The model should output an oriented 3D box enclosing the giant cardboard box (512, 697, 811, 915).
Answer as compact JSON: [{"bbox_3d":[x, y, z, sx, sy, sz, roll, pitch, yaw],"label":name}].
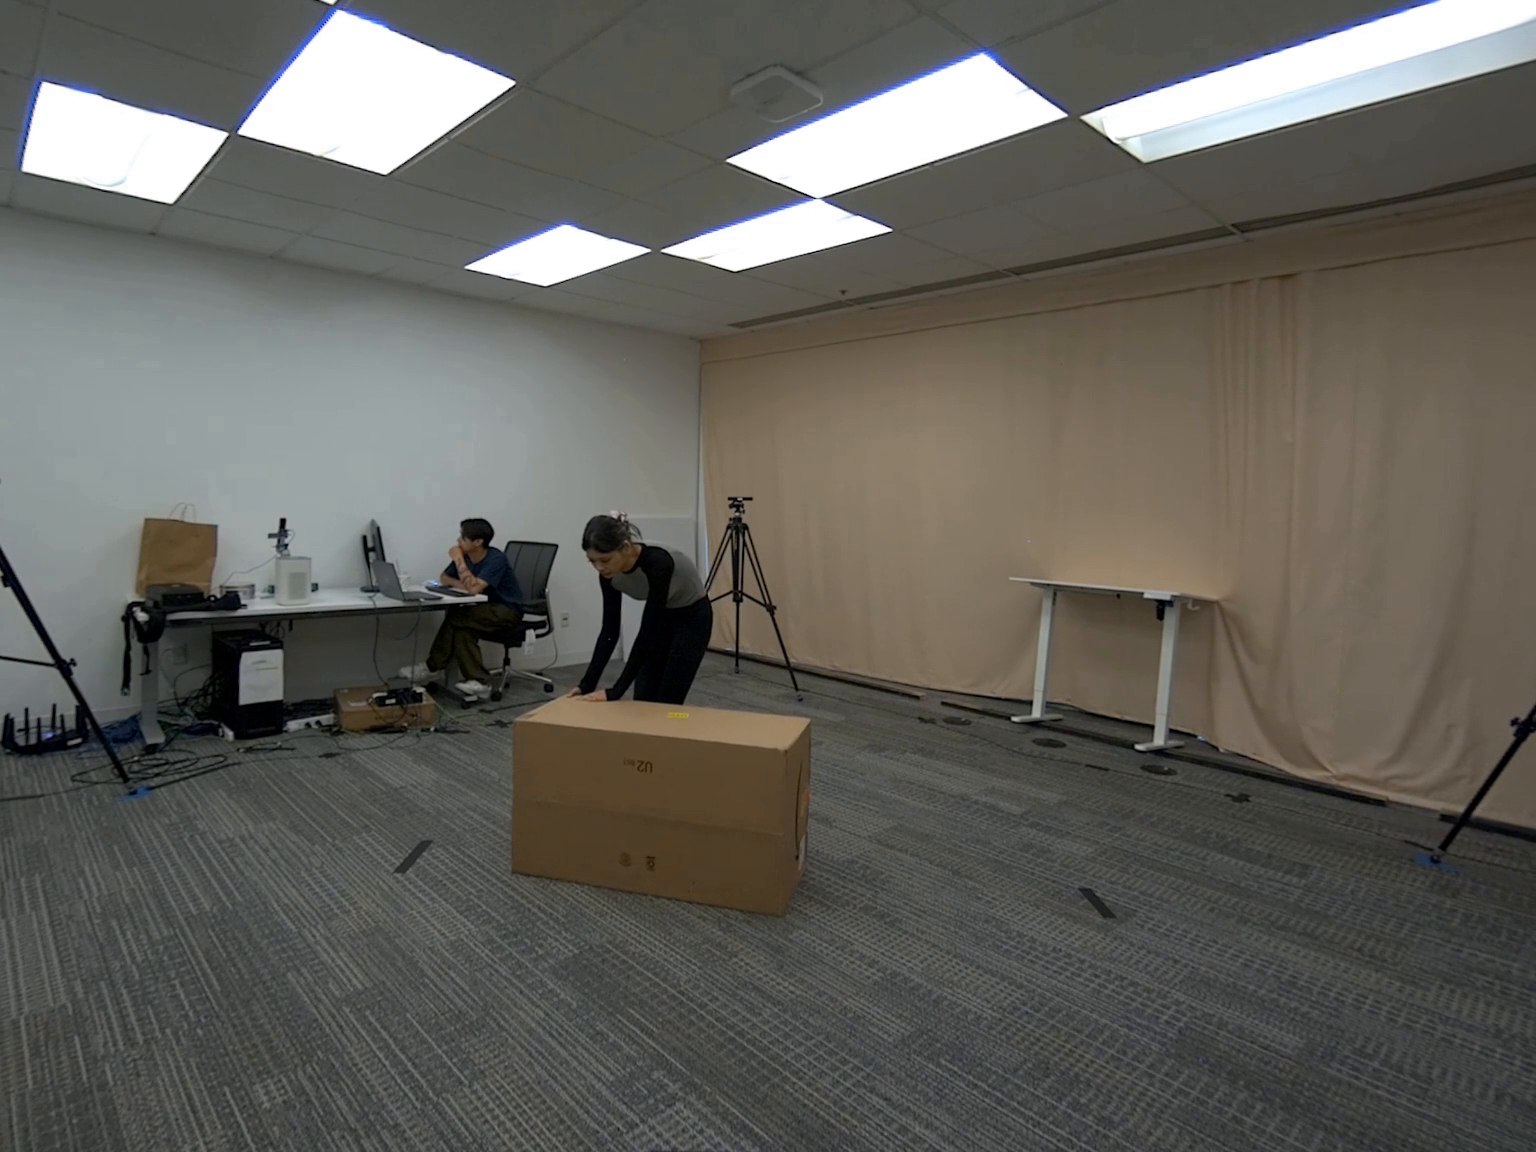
[{"bbox_3d":[-0.388,0.811,3.121,1.040,0.583,0.442,3,3,15],"label":"giant cardboard box"}]
